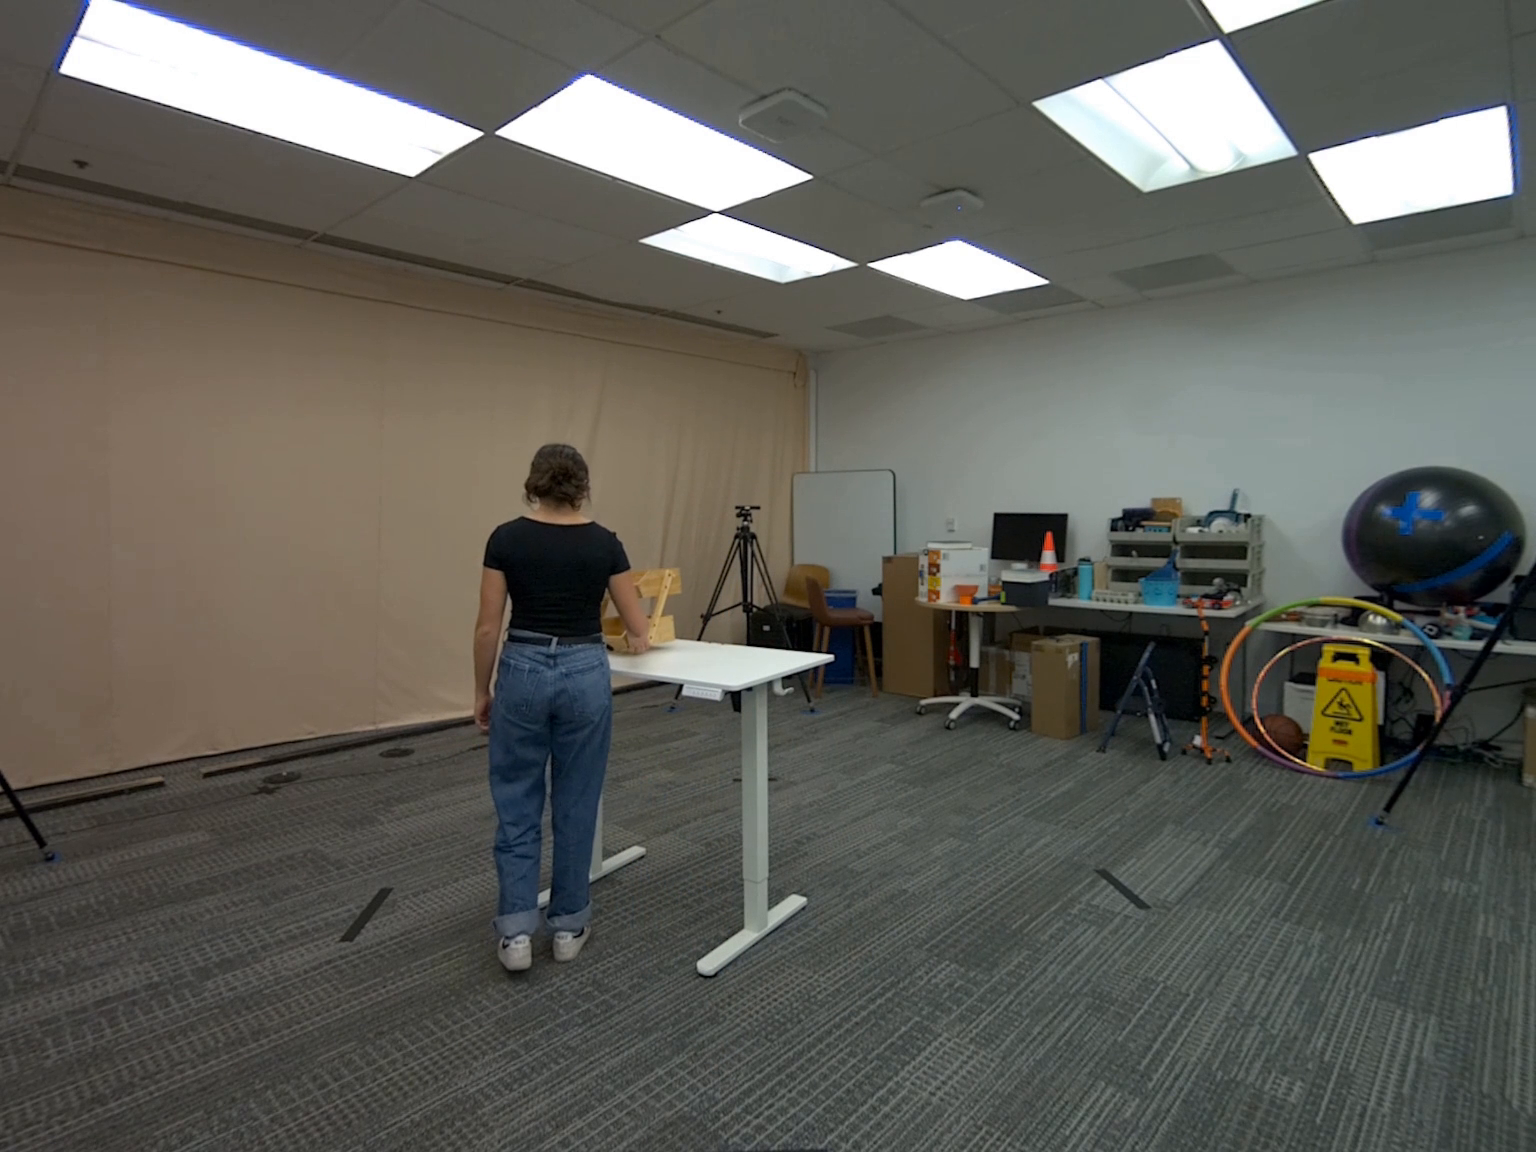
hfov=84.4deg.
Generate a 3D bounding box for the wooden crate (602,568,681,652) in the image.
[{"bbox_3d":[-0.523,0.115,3.058,0.334,0.273,0.293,-3,2,41],"label":"wooden crate"}]
